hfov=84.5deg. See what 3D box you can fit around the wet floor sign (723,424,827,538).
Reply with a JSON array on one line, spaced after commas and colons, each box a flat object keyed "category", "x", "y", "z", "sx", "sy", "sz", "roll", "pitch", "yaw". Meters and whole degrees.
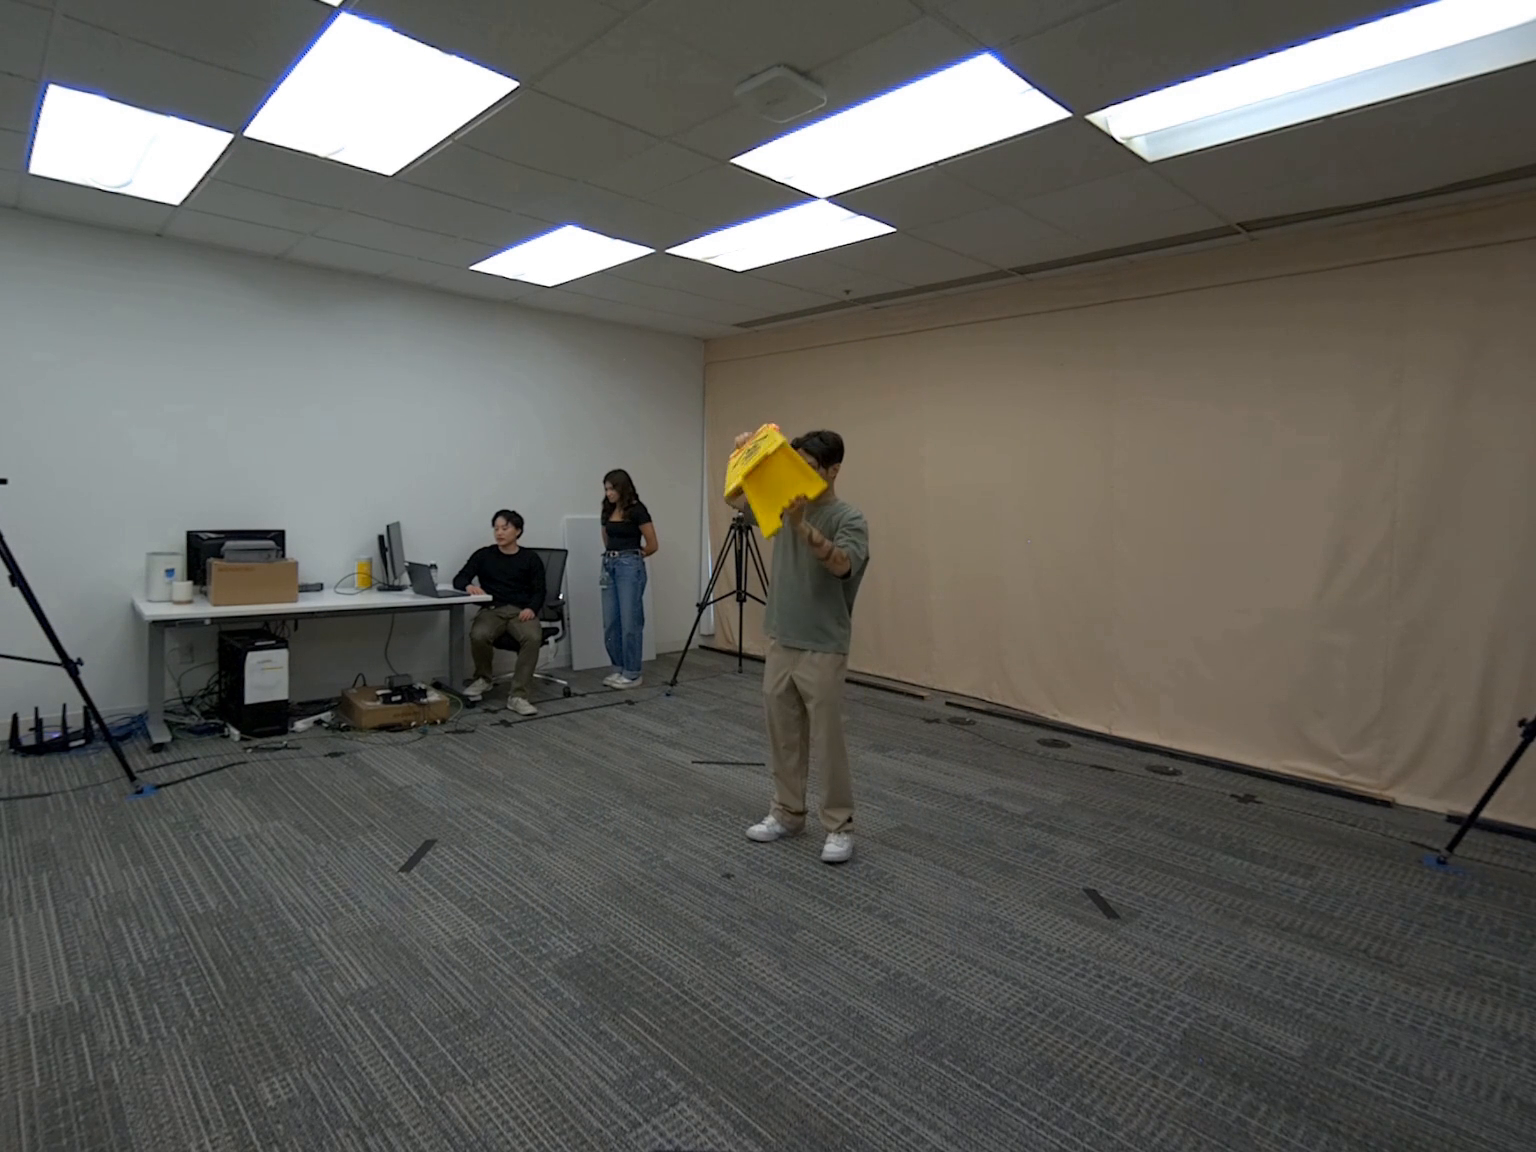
[{"category": "wet floor sign", "x": -0.037, "y": -0.401, "z": 3.117, "sx": 0.283, "sy": 0.282, "sz": 0.660, "roll": 44, "pitch": 10, "yaw": -23}]
